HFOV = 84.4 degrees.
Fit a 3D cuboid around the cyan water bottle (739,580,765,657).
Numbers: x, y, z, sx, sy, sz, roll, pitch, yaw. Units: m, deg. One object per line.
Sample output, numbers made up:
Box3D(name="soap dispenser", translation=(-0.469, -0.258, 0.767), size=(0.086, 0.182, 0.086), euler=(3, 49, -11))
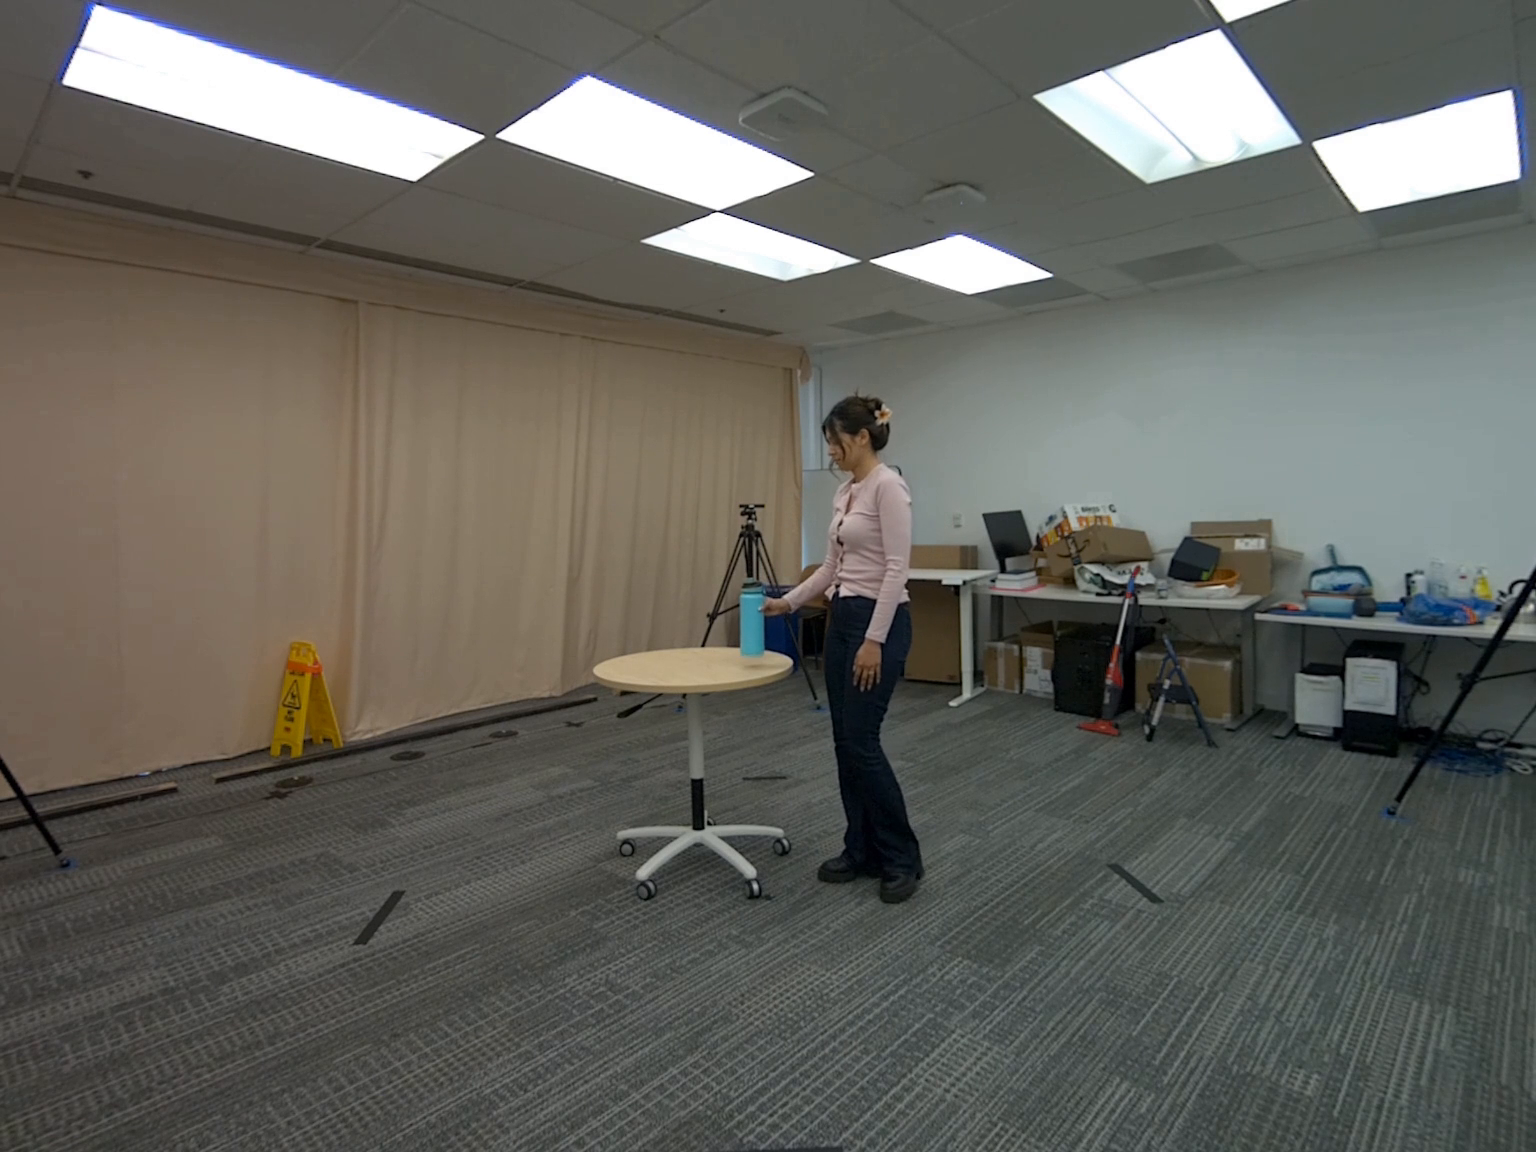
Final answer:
Box3D(name="cyan water bottle", translation=(-0.049, 0.149, 3.132), size=(0.092, 0.283, 0.092), euler=(1, 2, -2))
